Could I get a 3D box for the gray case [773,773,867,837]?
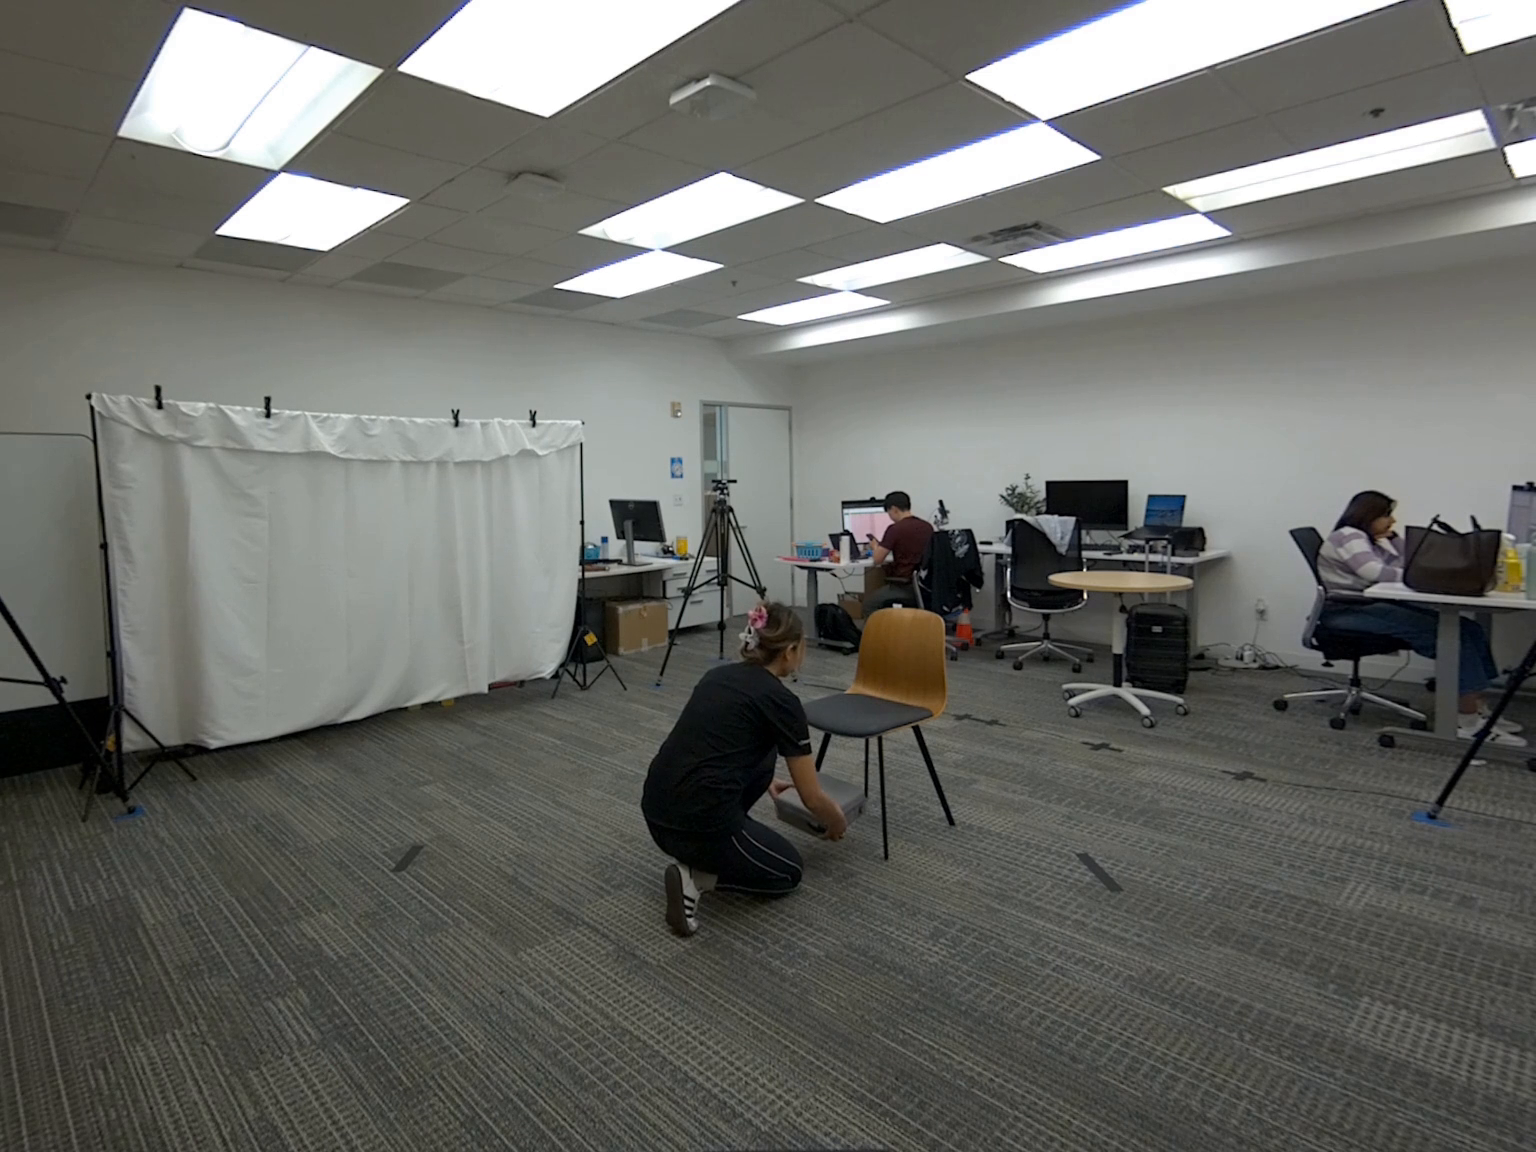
[{"bbox_3d":[0.202,0.843,3.179,0.255,0.103,0.265,-19,19,-39],"label":"gray case"}]
